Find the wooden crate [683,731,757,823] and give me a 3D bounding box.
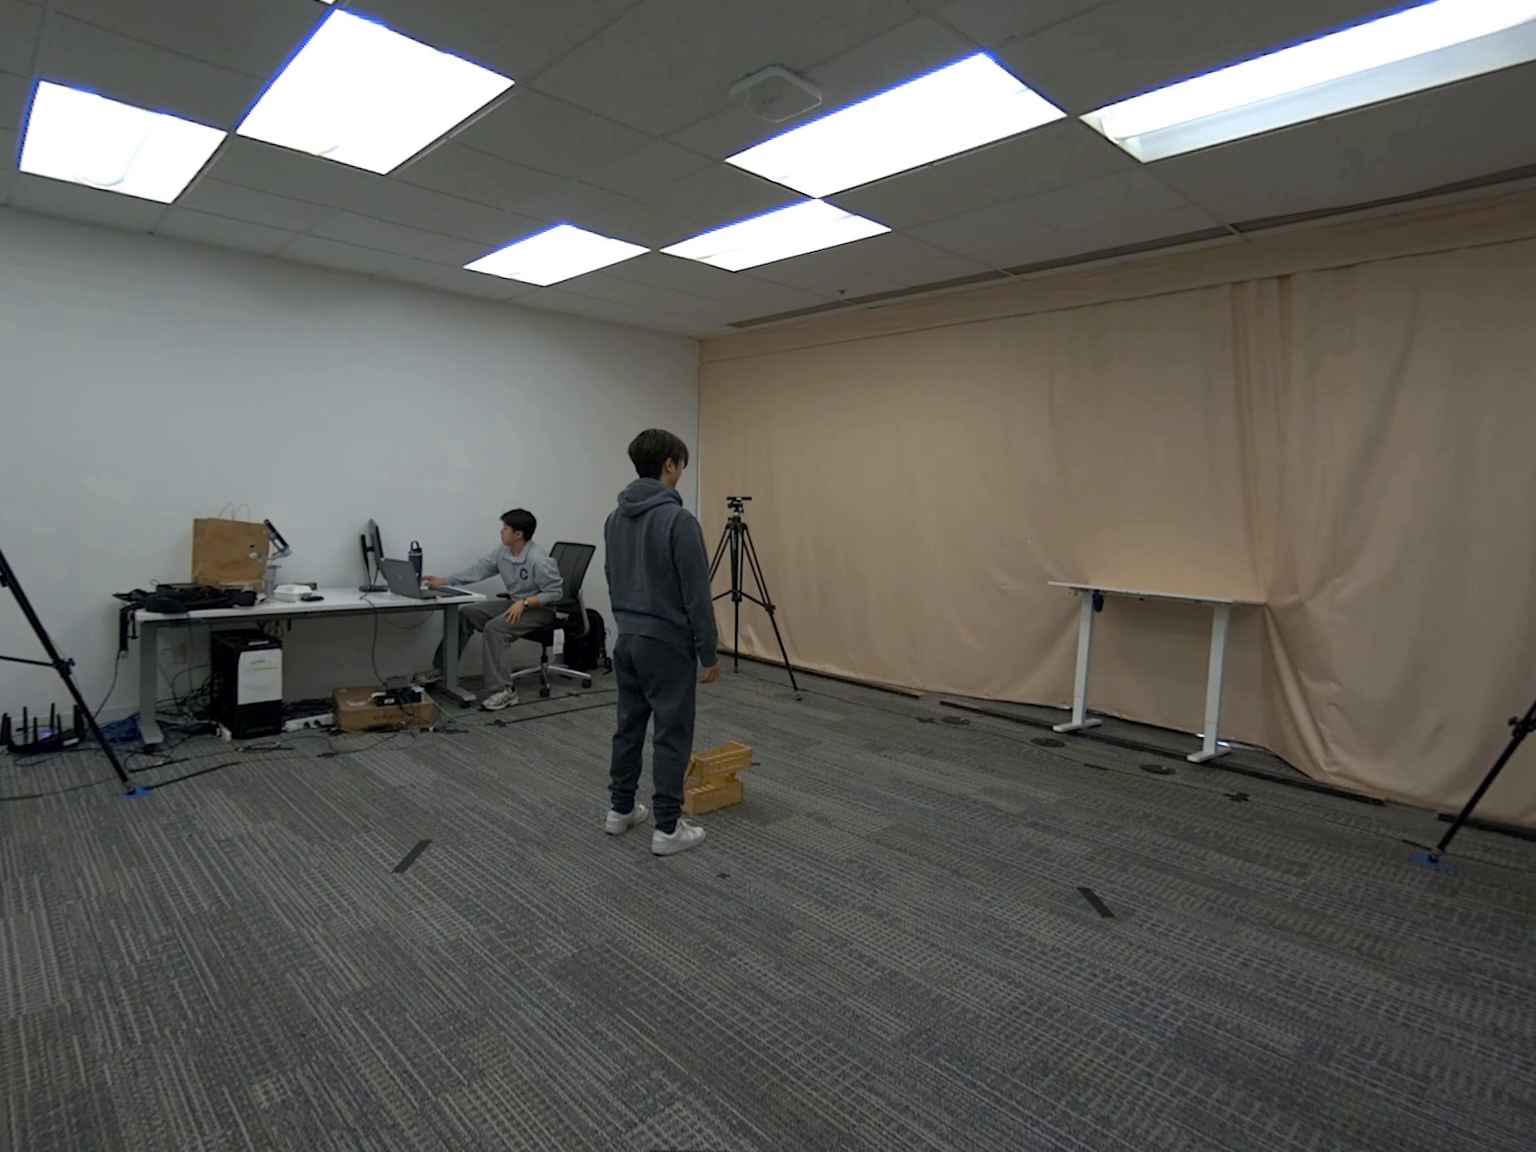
[{"bbox_3d":[-0.284,0.904,3.855,0.317,0.272,0.310,-2,6,-44],"label":"wooden crate"}]
